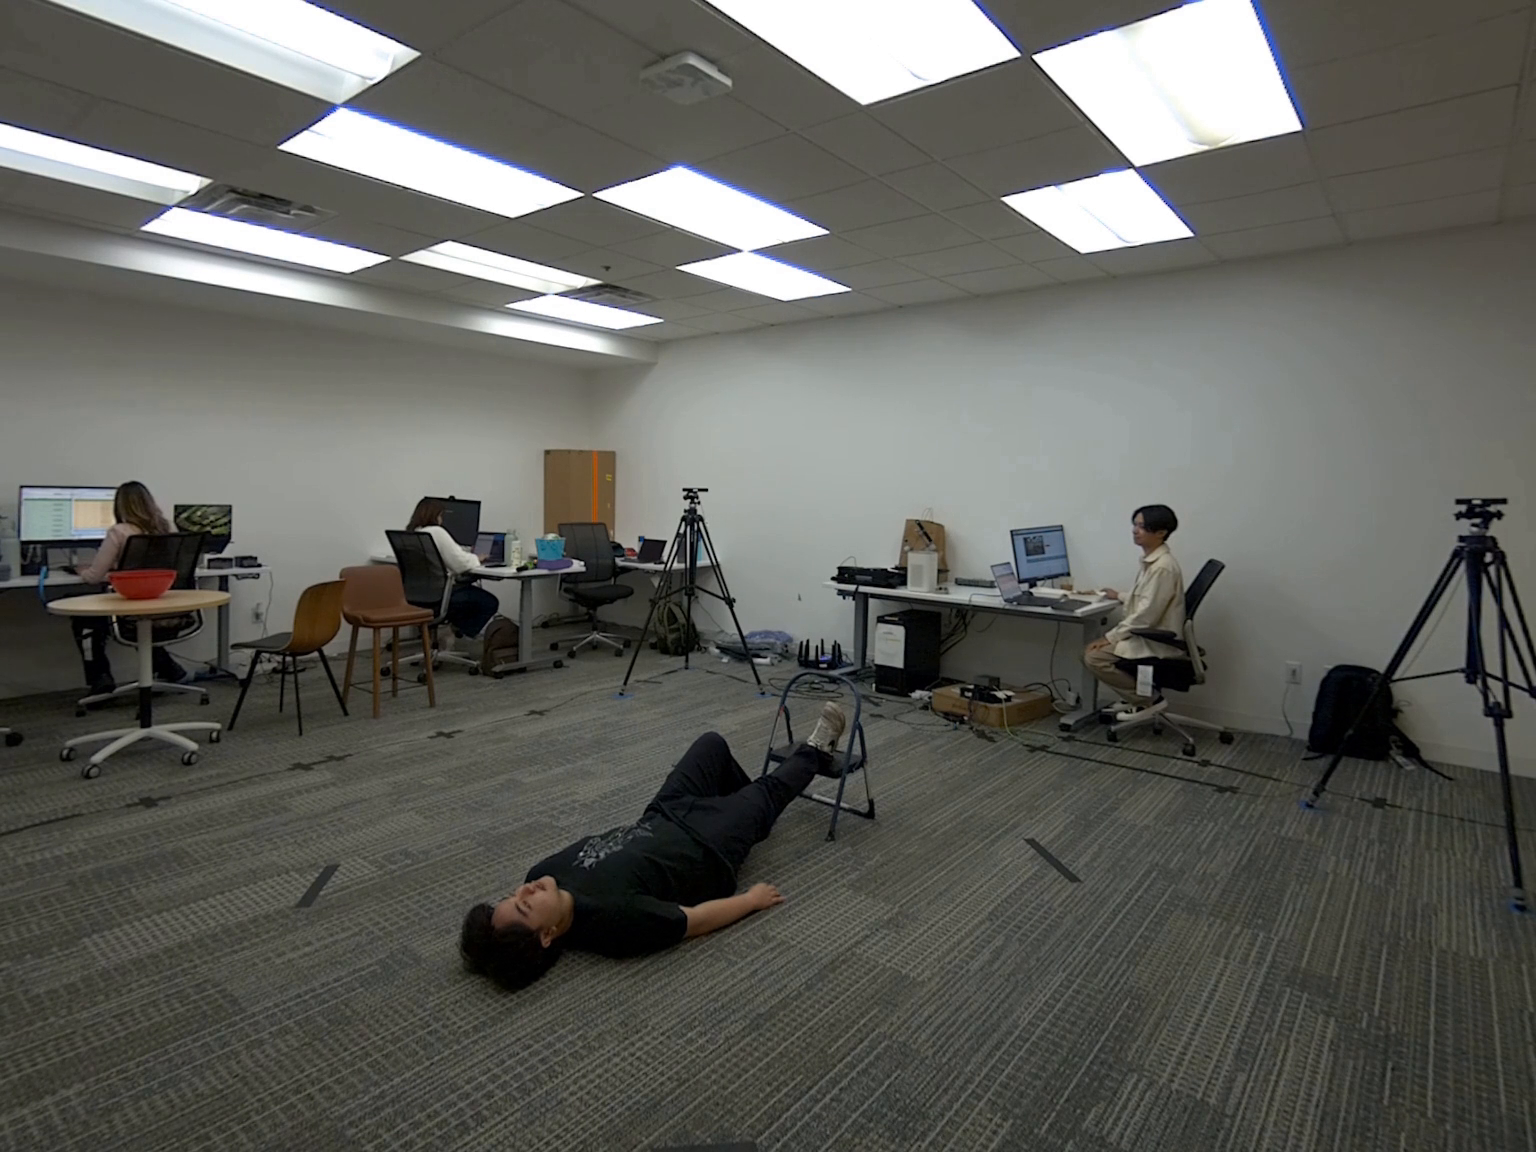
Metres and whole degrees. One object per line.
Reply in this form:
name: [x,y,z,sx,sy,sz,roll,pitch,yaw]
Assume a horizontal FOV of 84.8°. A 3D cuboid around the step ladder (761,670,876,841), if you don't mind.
step ladder: [0.196,0.728,3.641,0.445,0.604,0.339,5,5,40]
